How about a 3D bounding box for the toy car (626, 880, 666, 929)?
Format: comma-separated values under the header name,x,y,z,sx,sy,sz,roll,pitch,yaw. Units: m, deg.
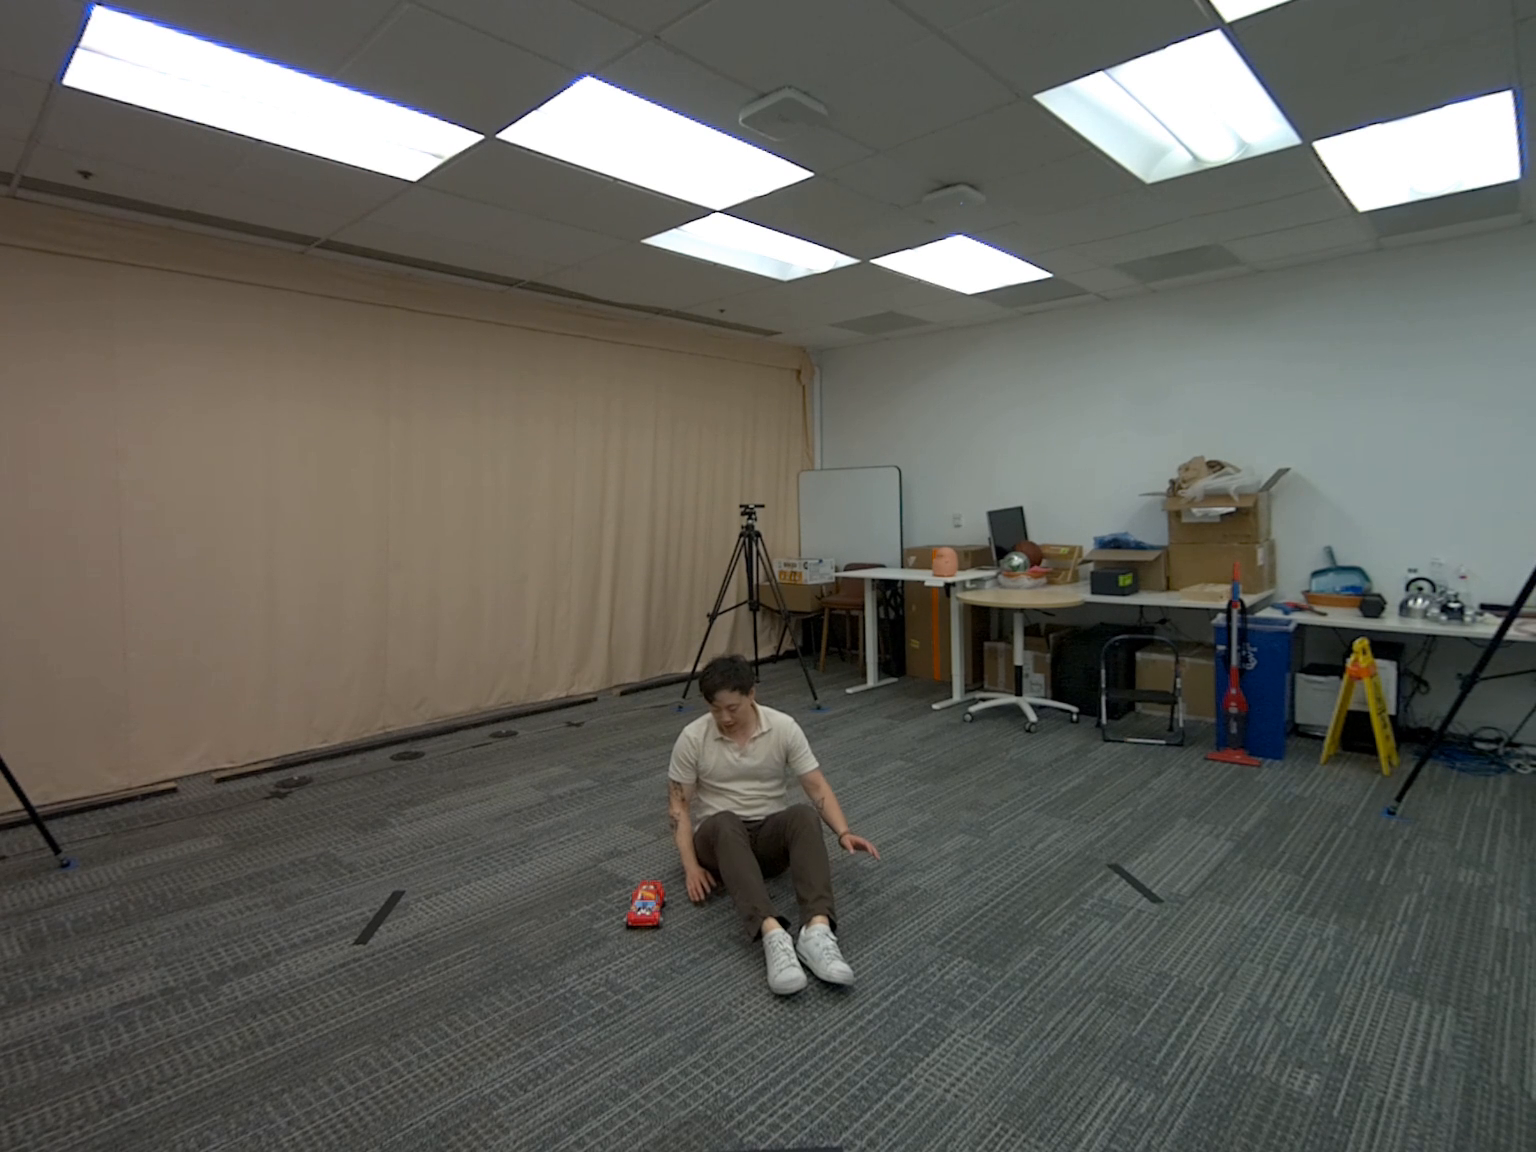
name,x,y,z,sx,sy,sz,roll,pitch,yaw
toy car,-0.416,1.132,2.888,0.130,0.082,0.256,-2,16,1
